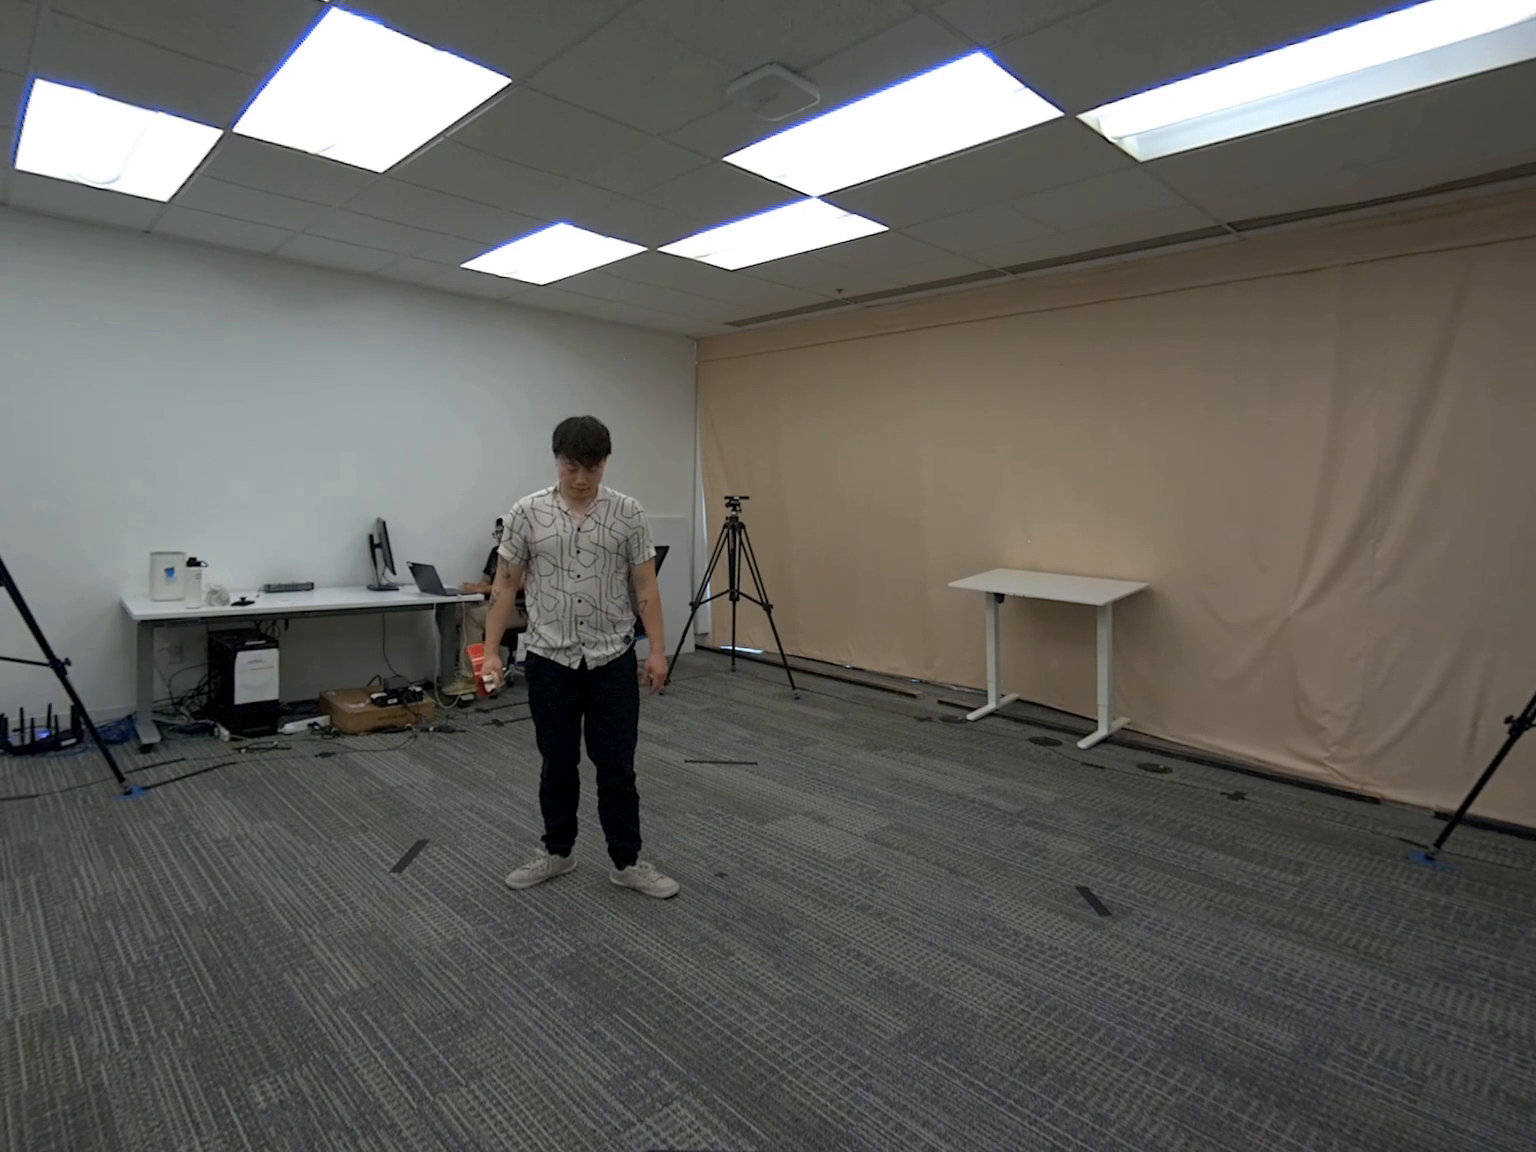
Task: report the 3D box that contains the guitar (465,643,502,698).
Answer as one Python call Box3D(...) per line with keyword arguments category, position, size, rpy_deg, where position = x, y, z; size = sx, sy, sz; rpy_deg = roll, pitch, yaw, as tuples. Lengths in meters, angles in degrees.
Box3D(category="guitar", position=(-0.981, 0.320, 2.923), size=(0.070, 0.194, 0.501), rpy_deg=(-12, -4, -20))
